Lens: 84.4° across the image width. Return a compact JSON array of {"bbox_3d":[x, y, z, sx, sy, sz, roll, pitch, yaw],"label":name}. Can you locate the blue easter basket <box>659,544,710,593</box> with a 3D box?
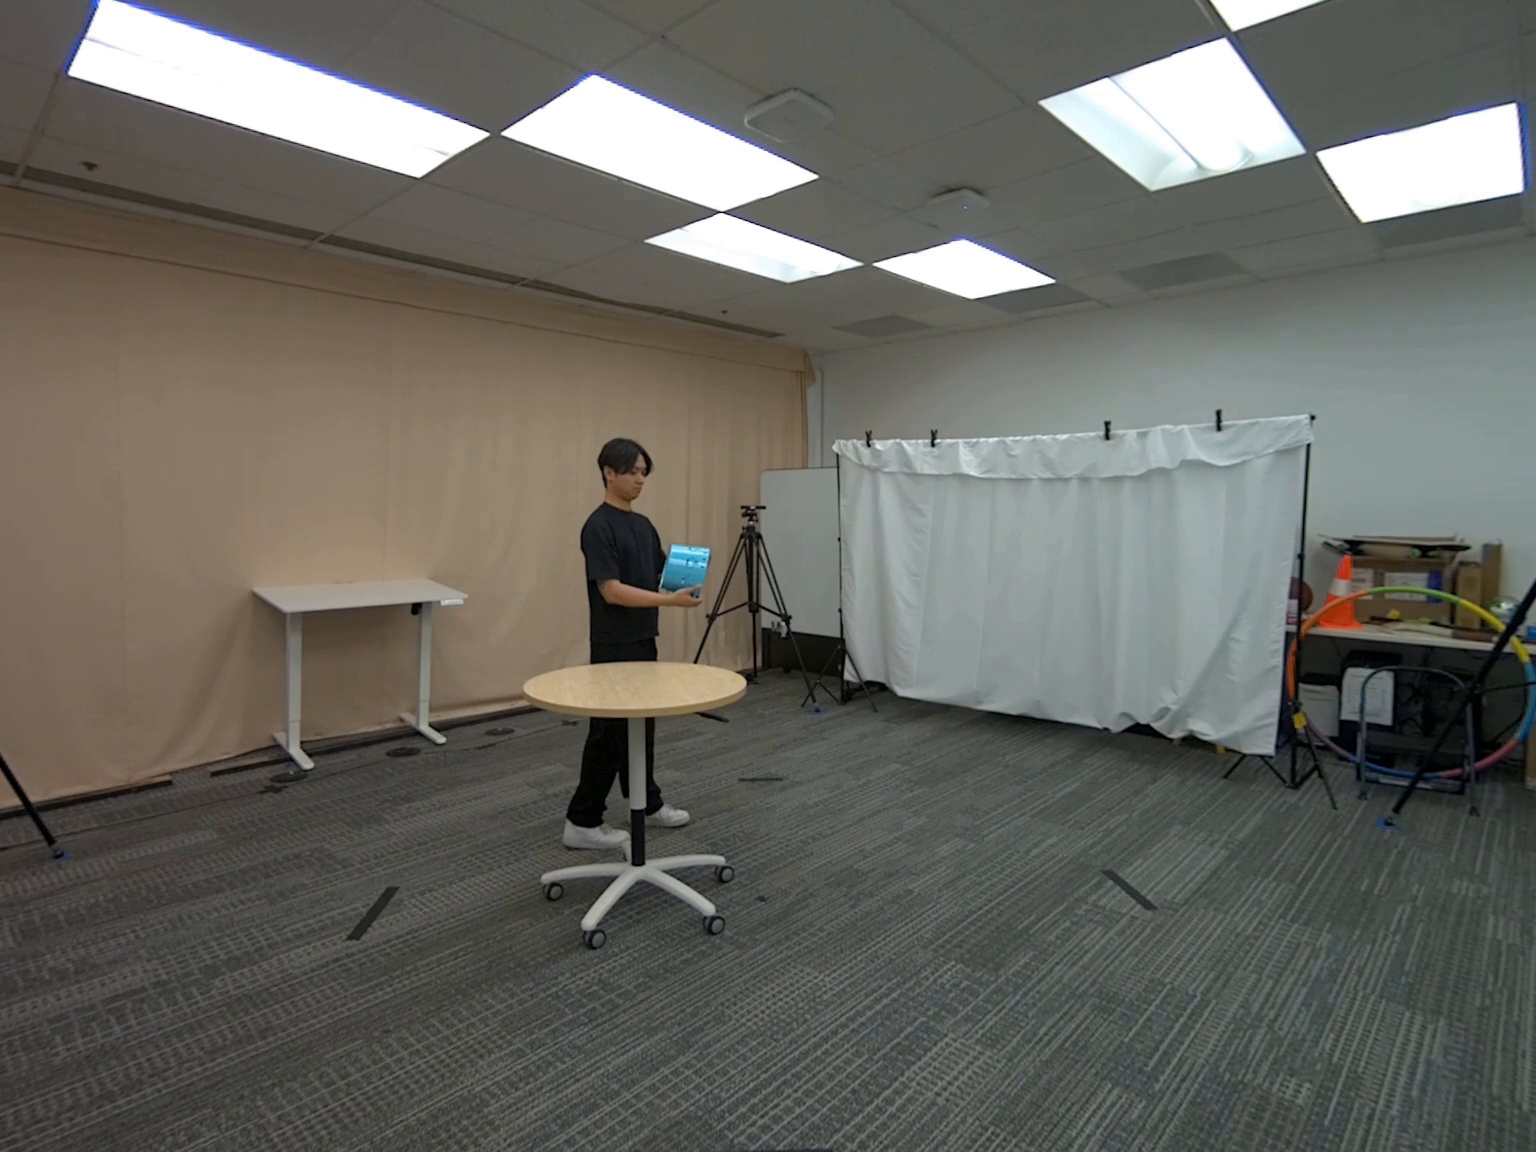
[{"bbox_3d":[-0.337,-0.016,3.389,0.155,0.243,0.245,14,2,-7],"label":"blue easter basket"}]
